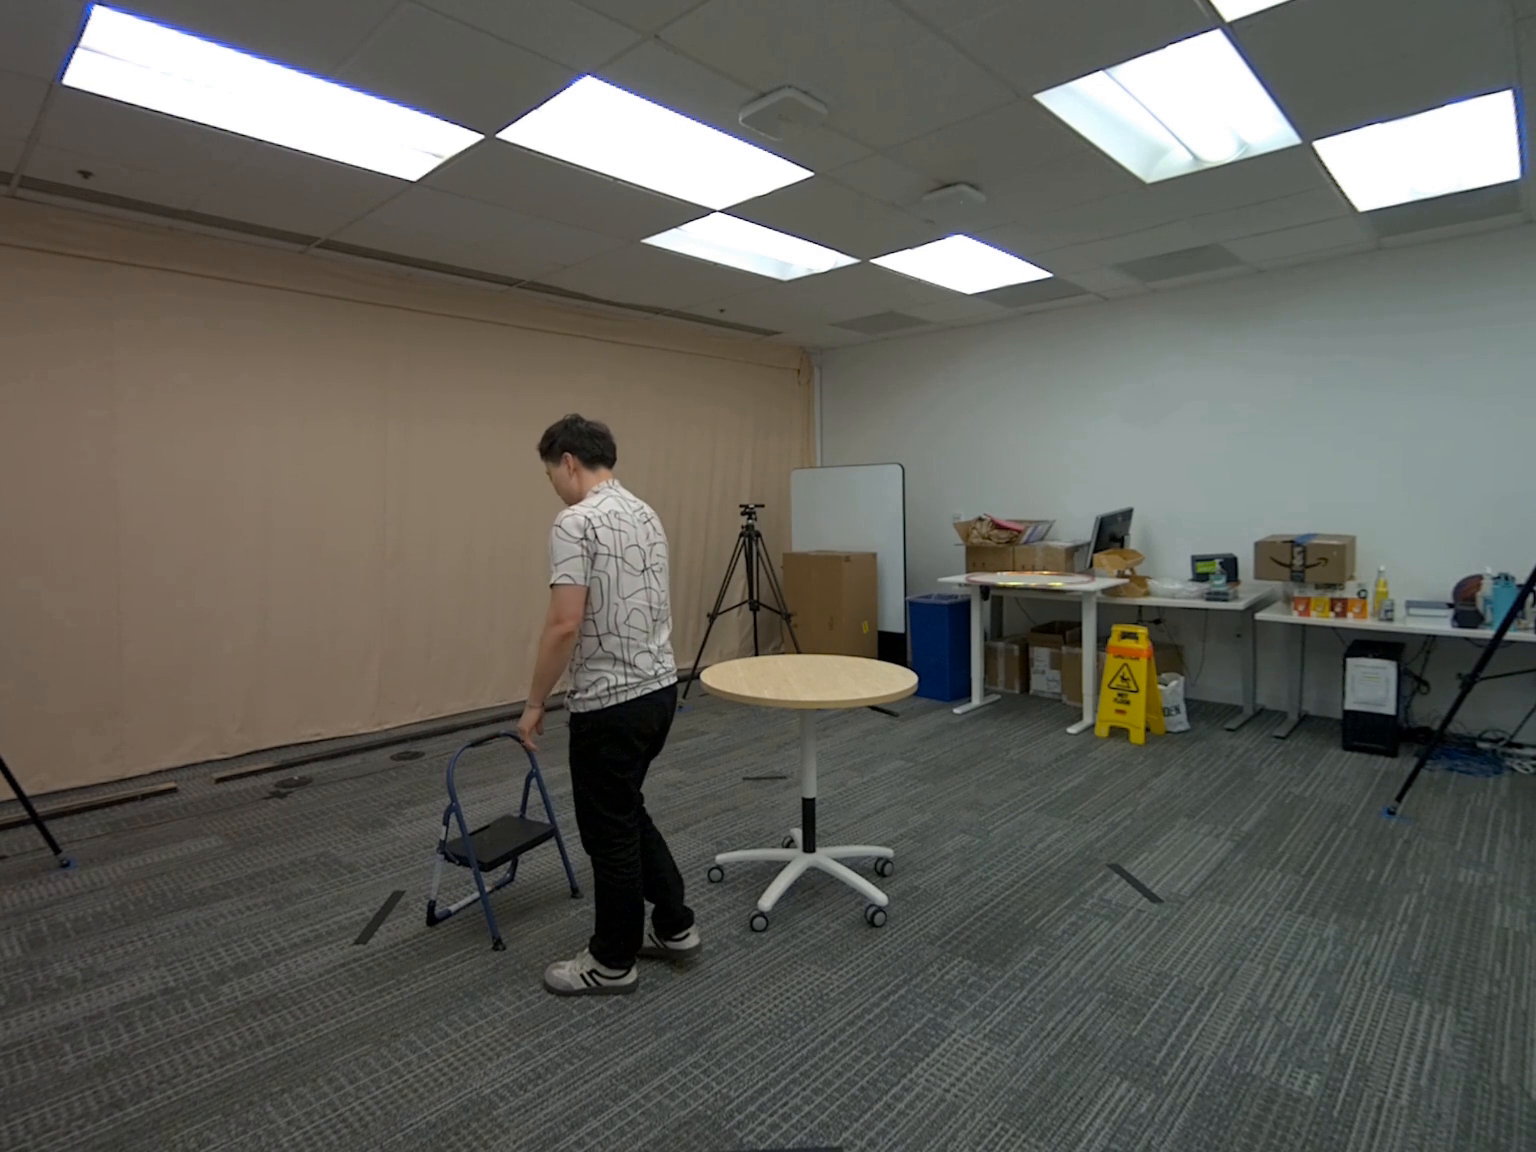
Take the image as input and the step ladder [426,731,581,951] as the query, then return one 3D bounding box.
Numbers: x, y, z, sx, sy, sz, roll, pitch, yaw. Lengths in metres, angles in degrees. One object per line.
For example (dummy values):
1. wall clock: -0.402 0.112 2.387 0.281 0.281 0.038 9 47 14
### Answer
1. step ladder: -0.920 0.865 2.911 0.359 0.605 0.420 0 4 27
